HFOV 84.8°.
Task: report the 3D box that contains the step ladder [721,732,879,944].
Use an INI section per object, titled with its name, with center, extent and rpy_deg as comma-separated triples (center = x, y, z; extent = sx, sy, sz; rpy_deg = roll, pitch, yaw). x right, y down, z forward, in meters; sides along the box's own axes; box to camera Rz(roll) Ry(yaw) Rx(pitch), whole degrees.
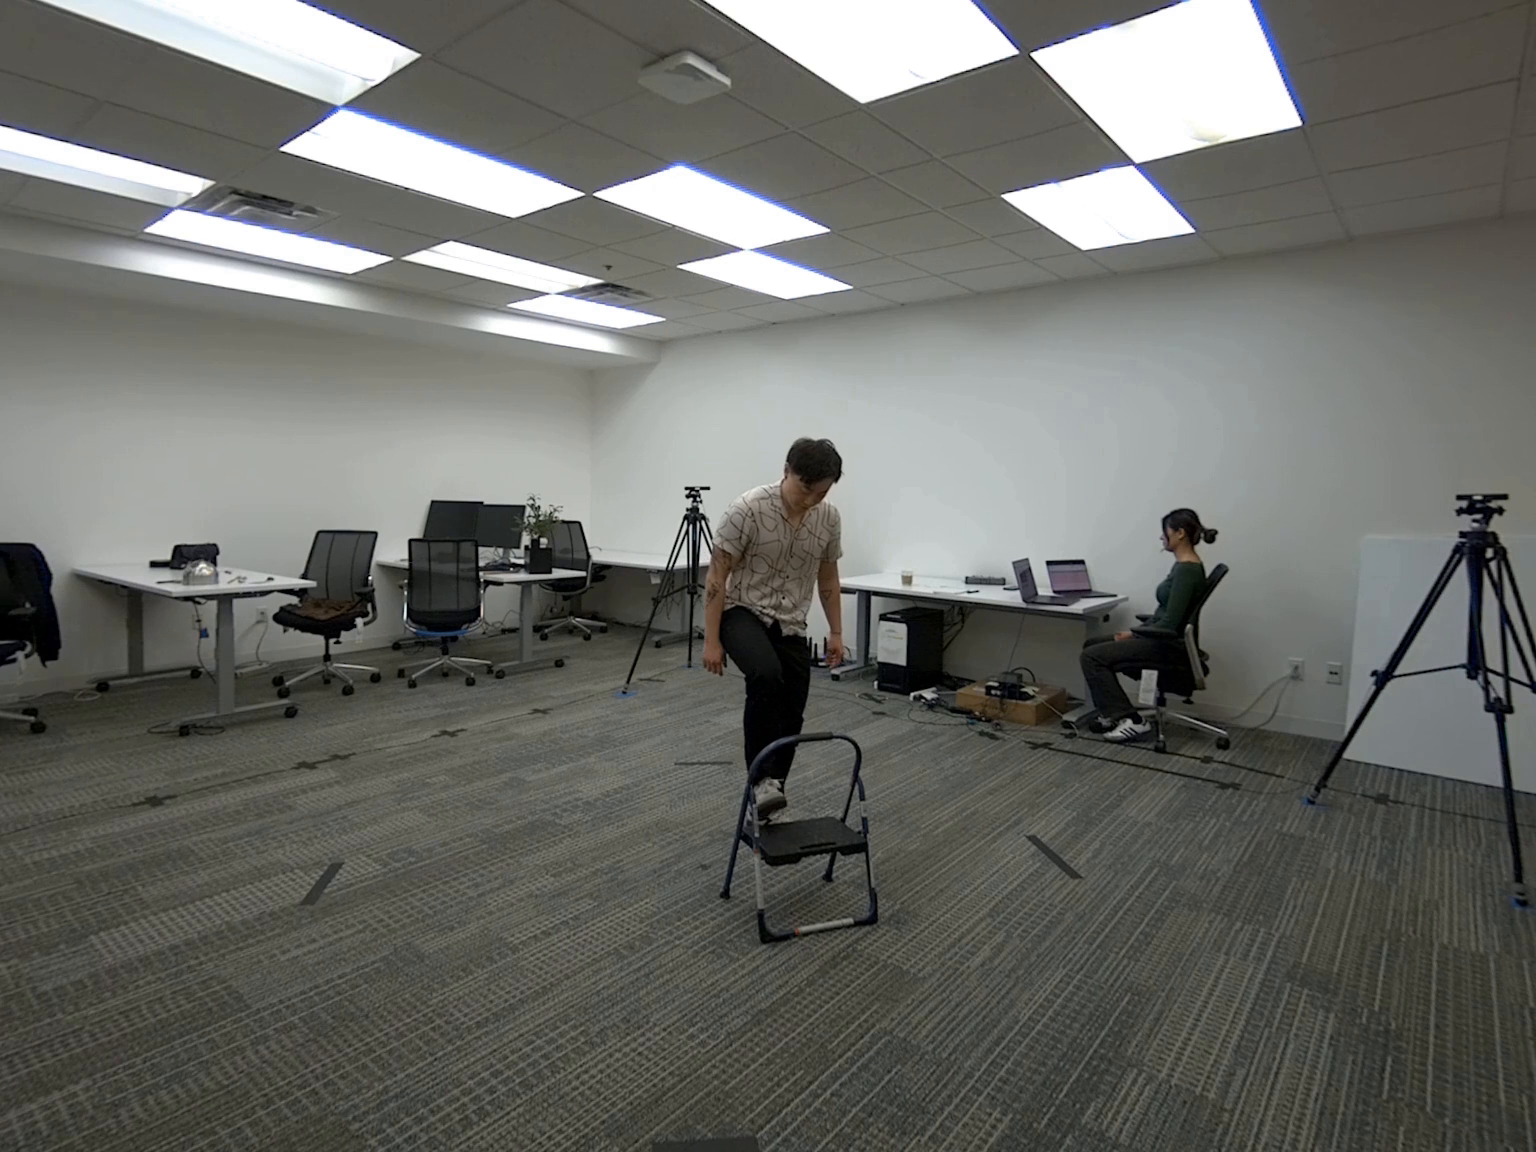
[step ladder]
center = 0.099, 0.798, 2.805
extent = 0.421, 0.604, 0.358
rpy_deg = -1, 4, -24
